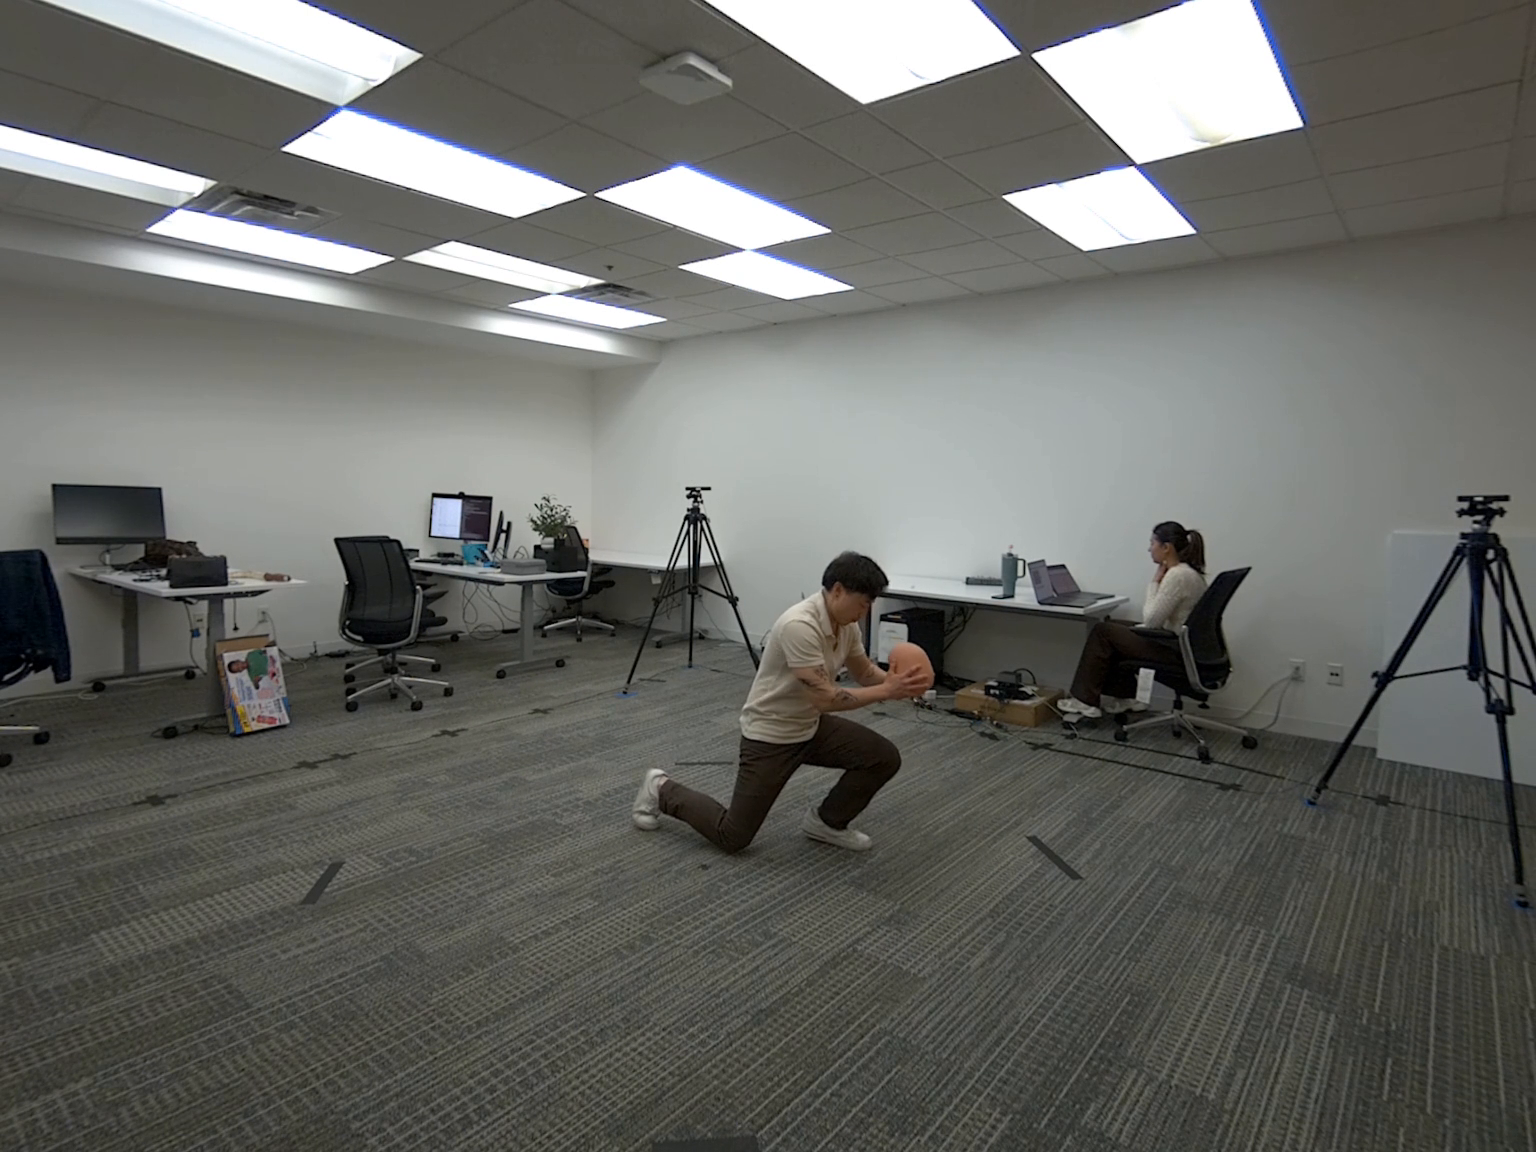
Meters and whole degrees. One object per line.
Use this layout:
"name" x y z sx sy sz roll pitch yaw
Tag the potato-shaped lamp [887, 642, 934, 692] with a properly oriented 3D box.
"potato-shaped lamp" 0.510 0.351 3.207 0.172 0.195 0.167 -14 12 2
